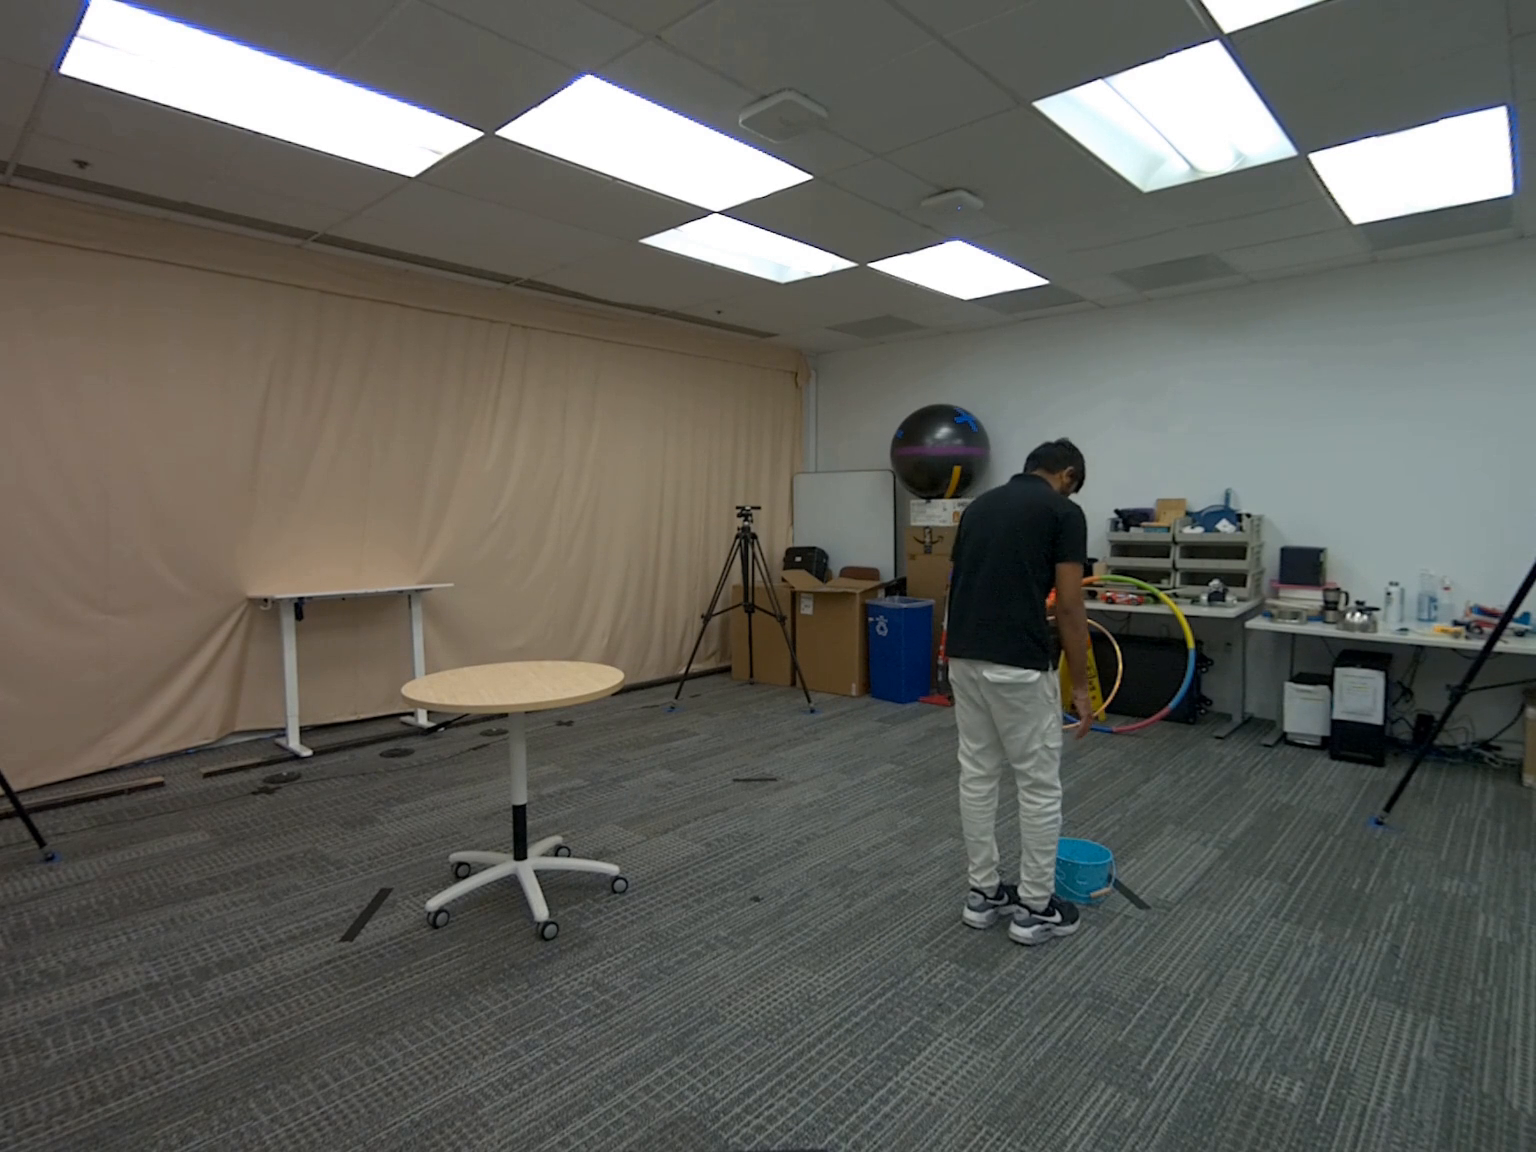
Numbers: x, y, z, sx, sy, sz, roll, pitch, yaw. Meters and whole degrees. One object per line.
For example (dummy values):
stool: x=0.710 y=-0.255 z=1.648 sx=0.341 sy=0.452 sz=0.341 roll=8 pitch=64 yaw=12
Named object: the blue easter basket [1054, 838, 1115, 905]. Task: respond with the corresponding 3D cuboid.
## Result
blue easter basket: x=1.120 y=1.064 z=3.024 sx=0.243 sy=0.155 sz=0.244 roll=-1 pitch=4 yaw=-2
